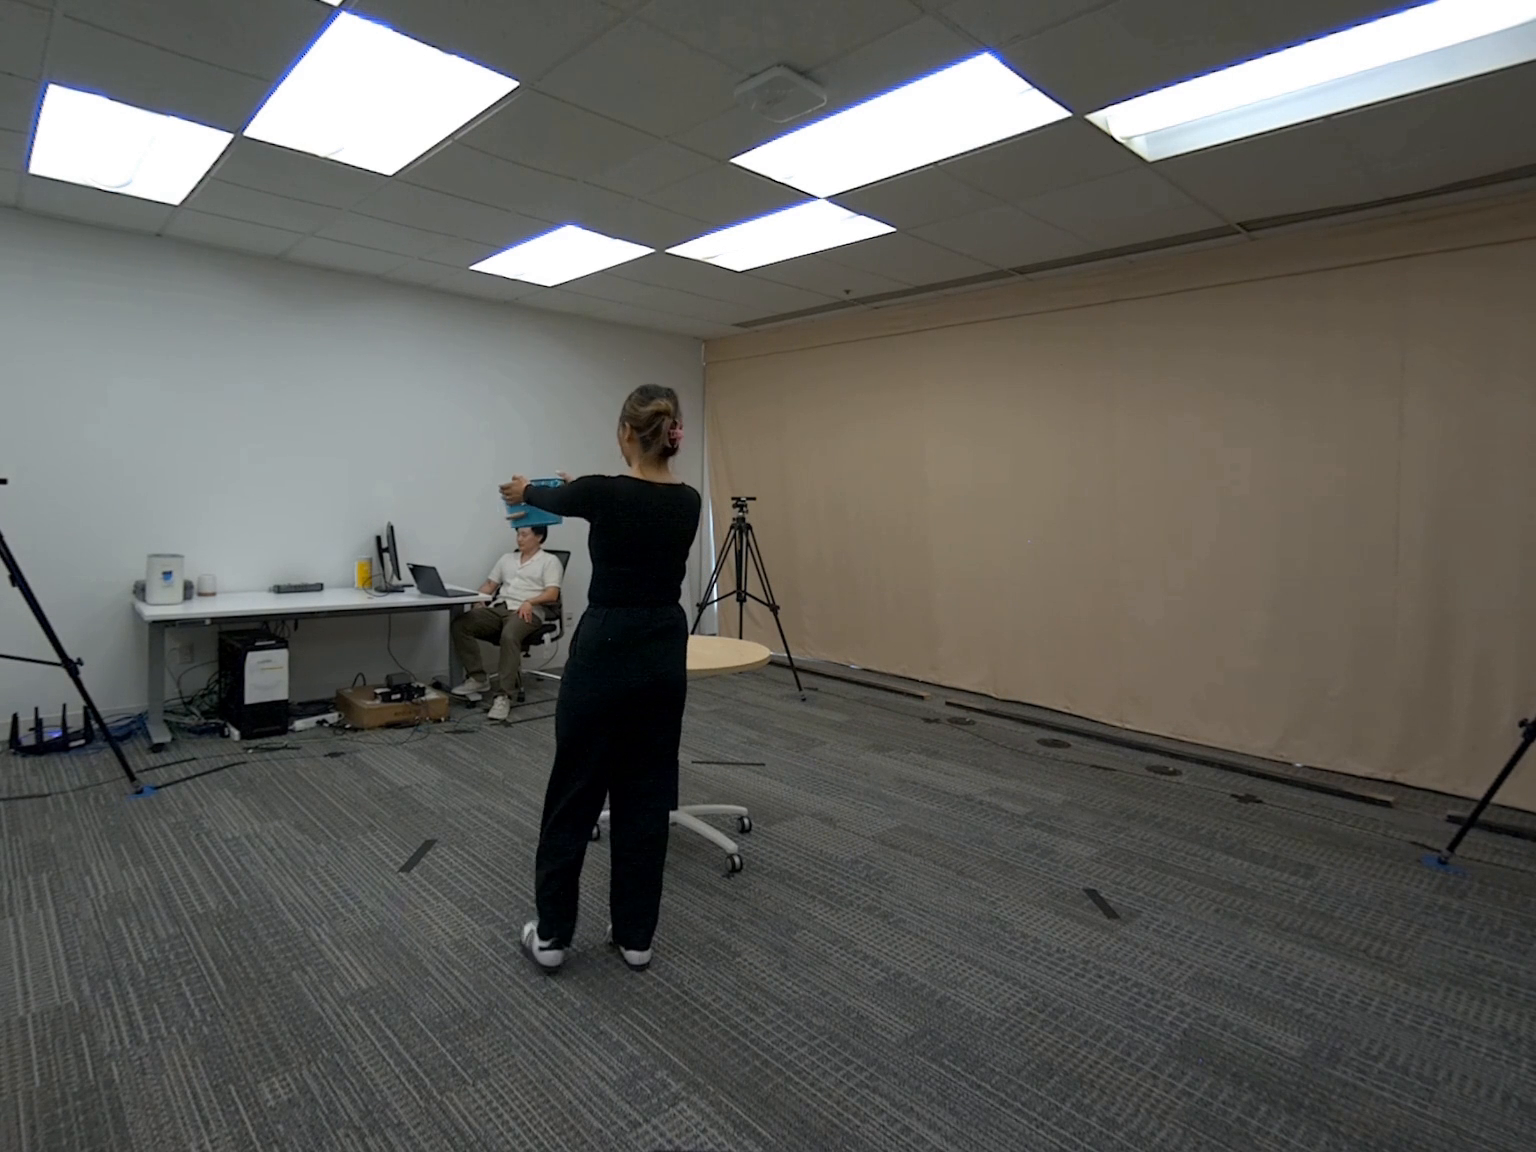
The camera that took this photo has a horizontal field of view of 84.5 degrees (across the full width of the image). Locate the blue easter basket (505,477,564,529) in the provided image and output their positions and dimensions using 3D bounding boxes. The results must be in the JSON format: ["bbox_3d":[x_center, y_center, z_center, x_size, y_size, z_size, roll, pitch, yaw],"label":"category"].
[{"bbox_3d":[-0.833,-0.255,2.960,0.243,0.156,0.244,-5,2,-1],"label":"blue easter basket"}]
